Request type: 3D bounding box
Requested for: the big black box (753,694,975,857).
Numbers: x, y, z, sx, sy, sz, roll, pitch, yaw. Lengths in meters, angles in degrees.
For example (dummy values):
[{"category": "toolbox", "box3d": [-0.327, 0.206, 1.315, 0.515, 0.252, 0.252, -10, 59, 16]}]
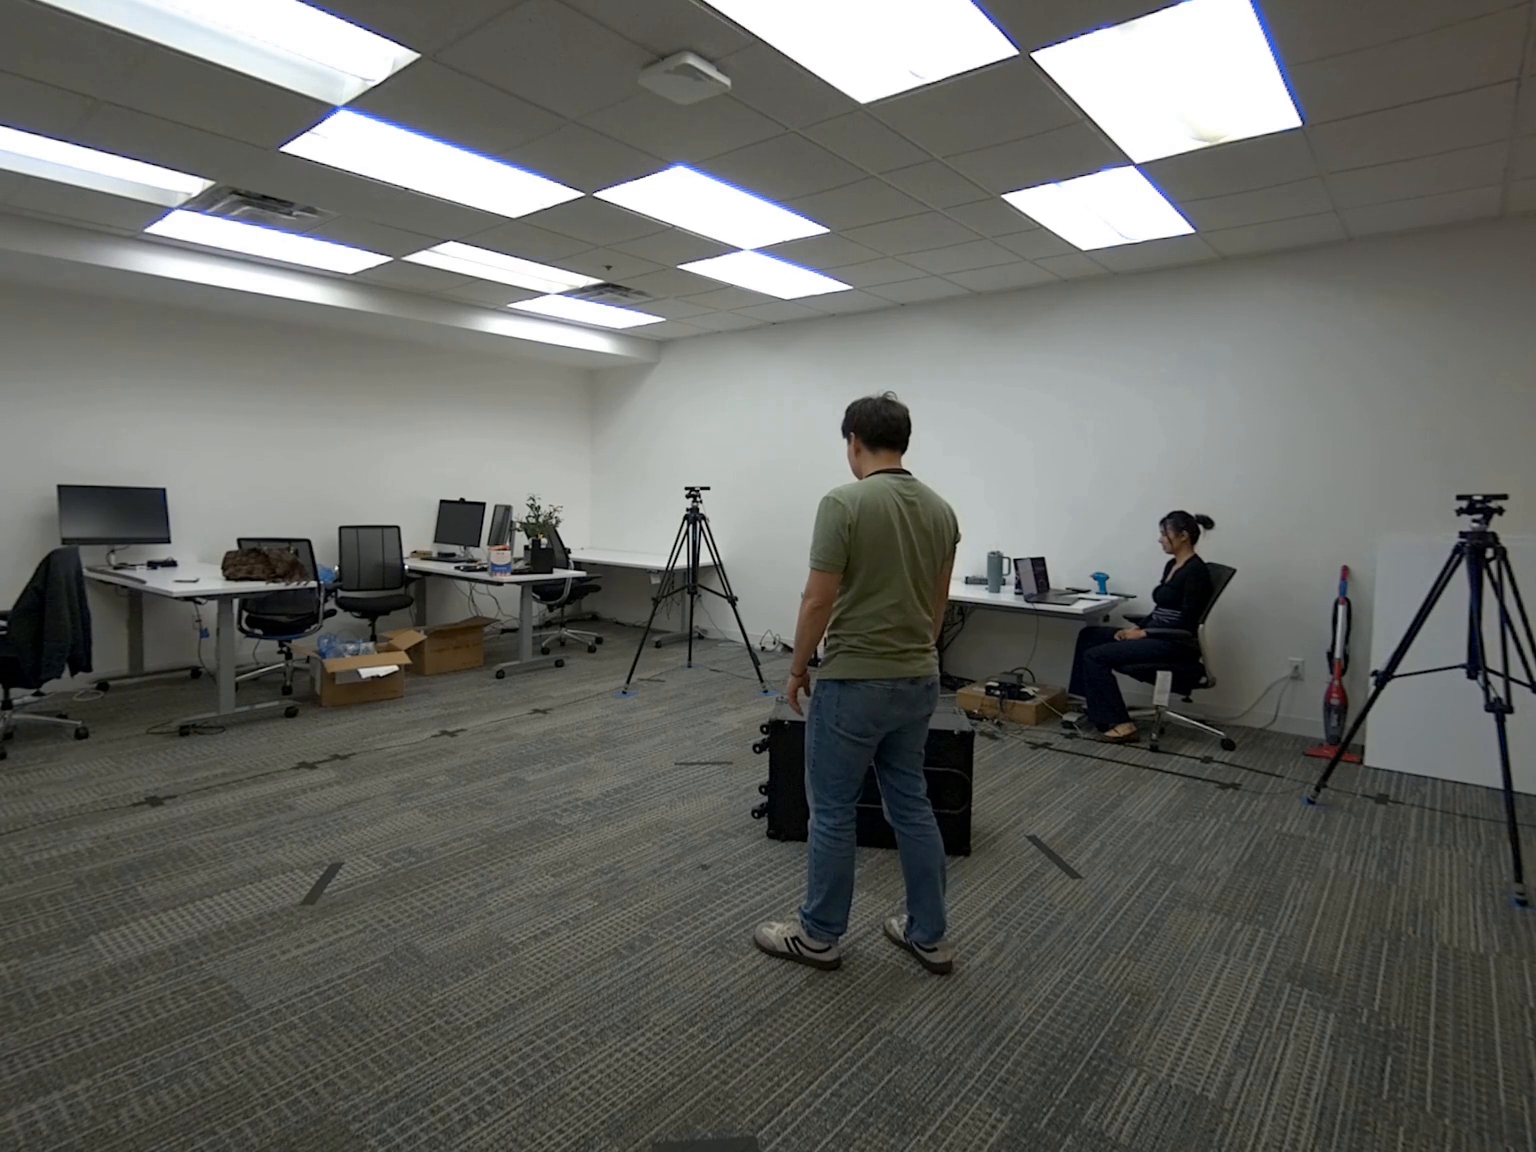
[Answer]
[{"category": "big black box", "box3d": [0.424, 0.788, 3.452, 0.869, 0.519, 0.394, 1, 4, 8]}]
